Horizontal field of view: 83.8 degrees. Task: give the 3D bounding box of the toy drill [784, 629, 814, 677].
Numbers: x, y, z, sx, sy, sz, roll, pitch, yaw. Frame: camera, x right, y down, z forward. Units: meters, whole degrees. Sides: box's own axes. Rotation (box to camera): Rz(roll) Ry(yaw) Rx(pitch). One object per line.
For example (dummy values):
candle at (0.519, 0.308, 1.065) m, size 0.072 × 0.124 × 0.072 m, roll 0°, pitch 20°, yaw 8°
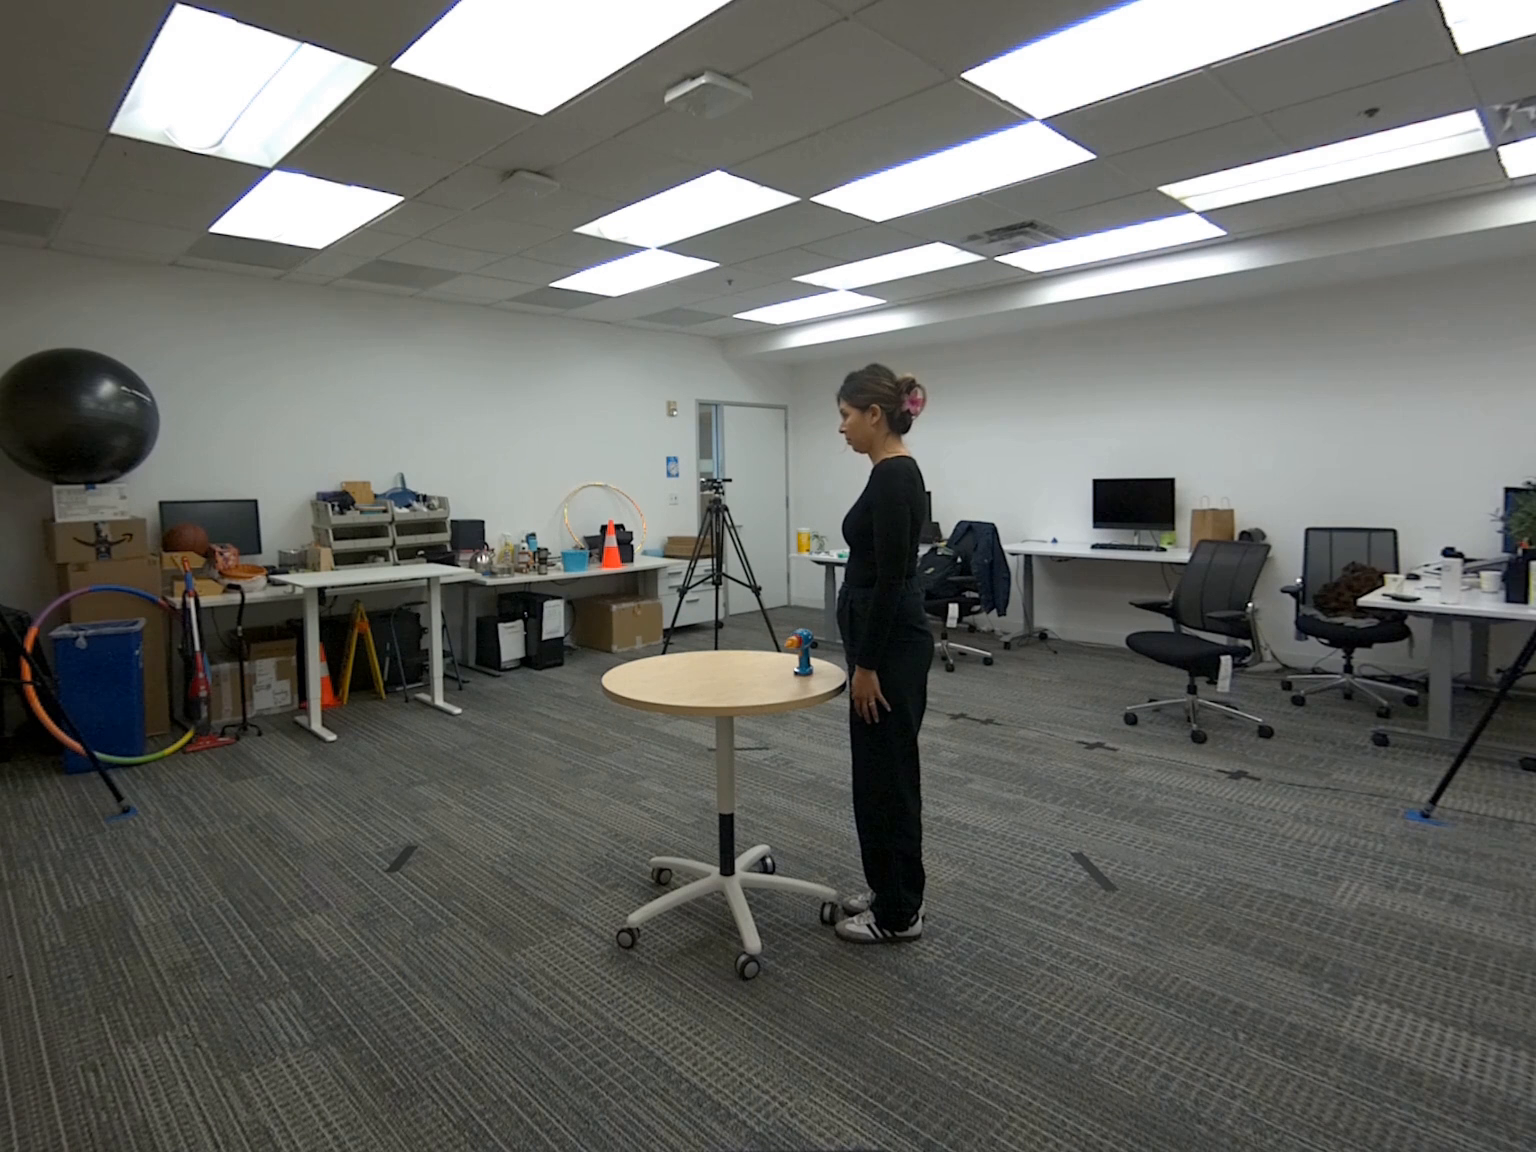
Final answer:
toy drill at (0.104, 0.238, 2.634) m, size 0.062 × 0.145 × 0.166 m, roll 1°, pitch 5°, yaw 26°
